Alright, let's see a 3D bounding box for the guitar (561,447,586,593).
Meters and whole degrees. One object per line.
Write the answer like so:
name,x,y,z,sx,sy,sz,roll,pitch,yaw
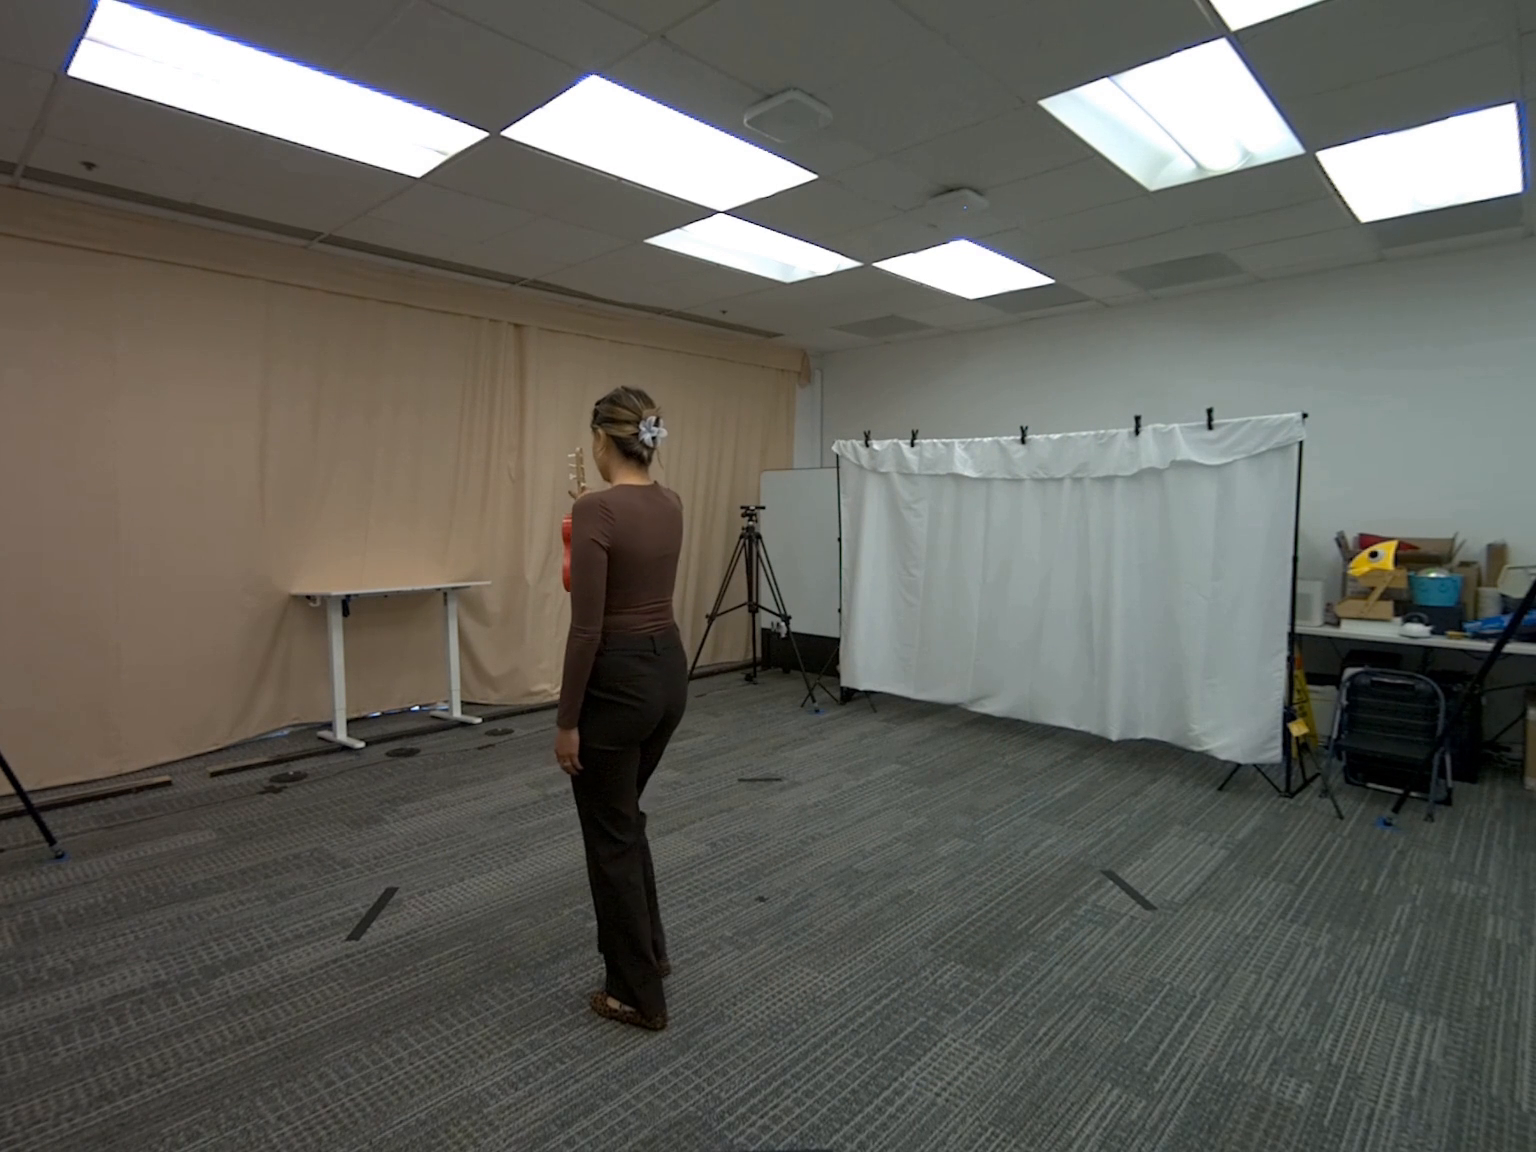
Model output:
guitar,-0.660,-0.192,2.961,0.071,0.500,0.190,-4,-7,9
